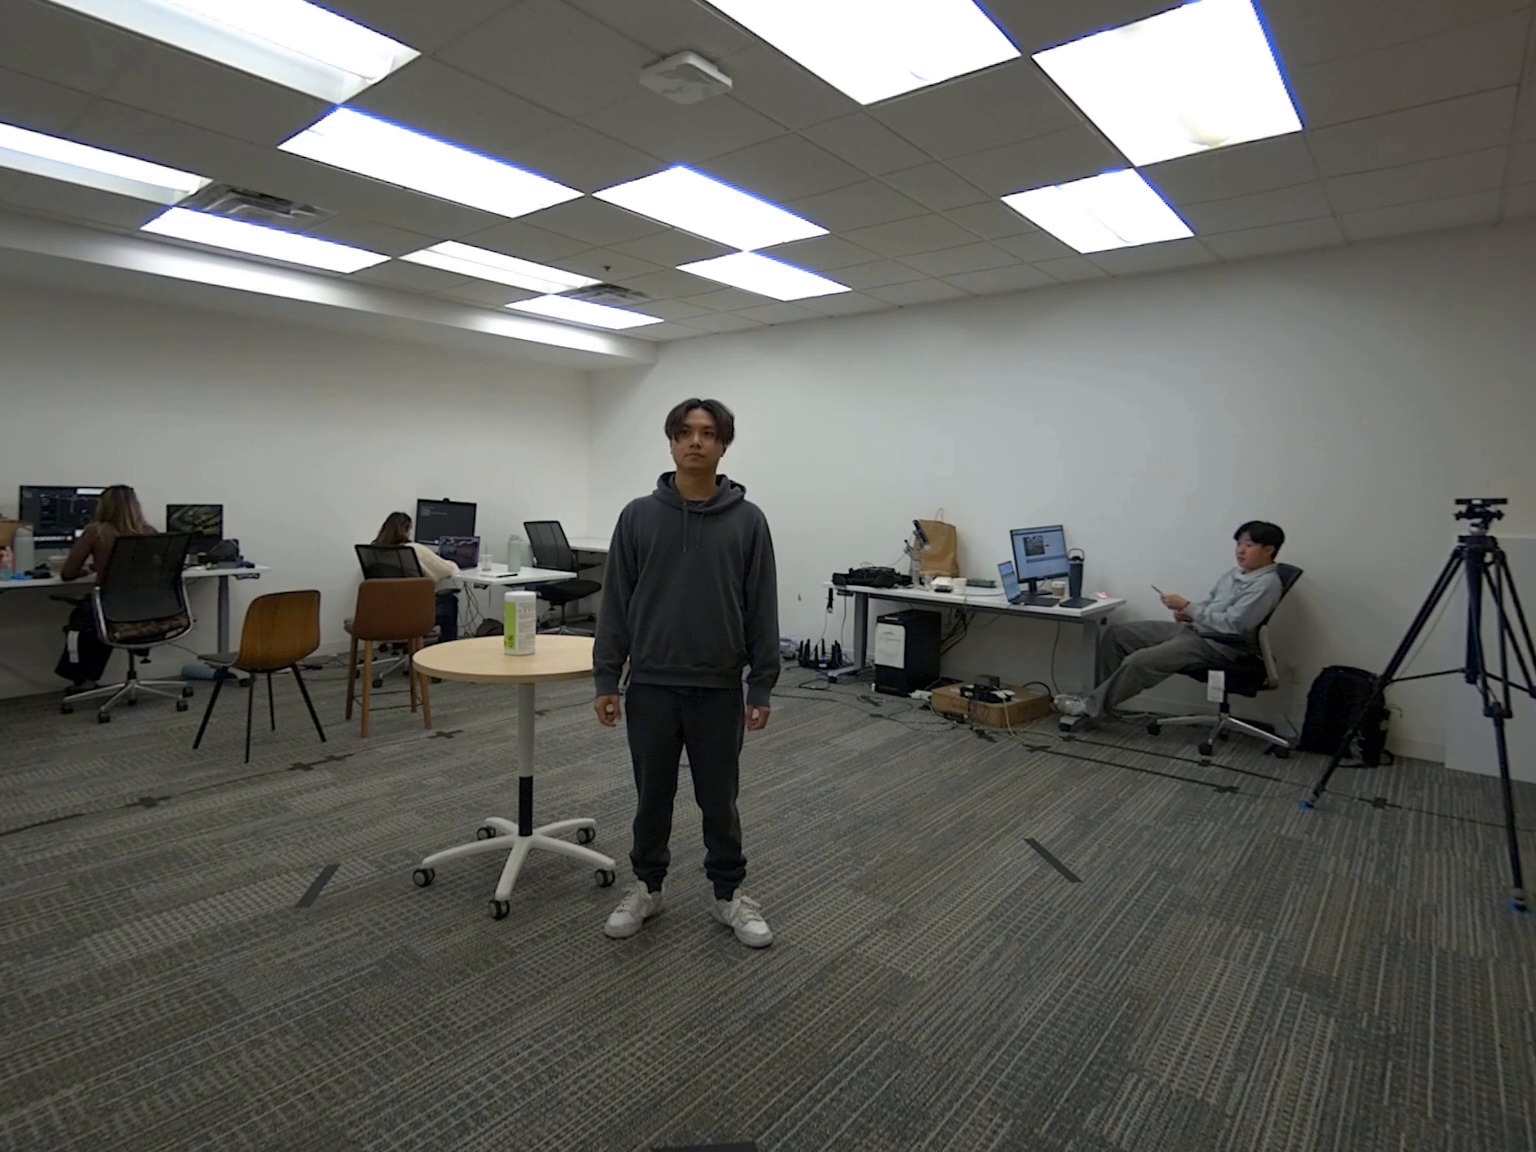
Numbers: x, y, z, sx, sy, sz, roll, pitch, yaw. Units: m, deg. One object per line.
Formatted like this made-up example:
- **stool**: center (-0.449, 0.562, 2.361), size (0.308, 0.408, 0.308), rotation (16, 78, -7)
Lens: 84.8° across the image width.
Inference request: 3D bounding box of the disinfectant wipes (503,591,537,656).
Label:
- **disinfectant wipes**: center (-0.888, 0.164, 3.005), size (0.117, 0.217, 0.118), rotation (3, 4, -2)
